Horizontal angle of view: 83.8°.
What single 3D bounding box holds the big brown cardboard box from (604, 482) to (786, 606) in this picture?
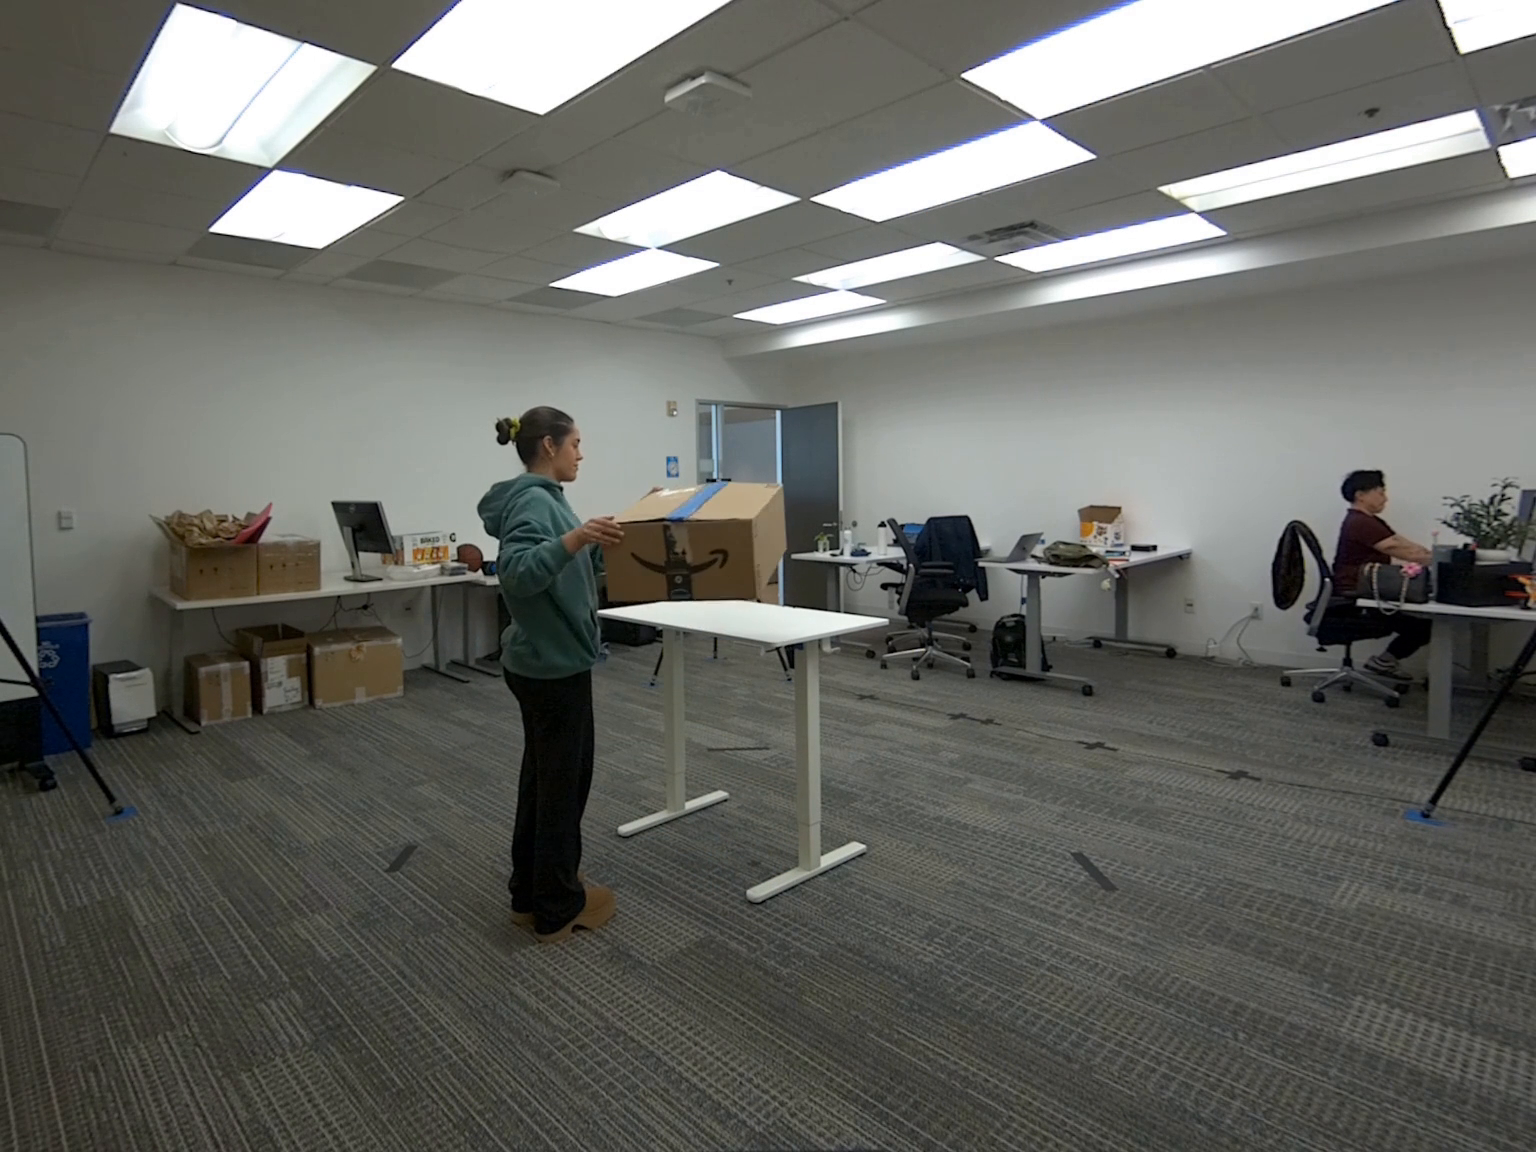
[{"bbox_3d":[-0.201,-0.111,2.509,0.422,0.230,0.590,-2,15,11],"label":"big brown cardboard box"}]
